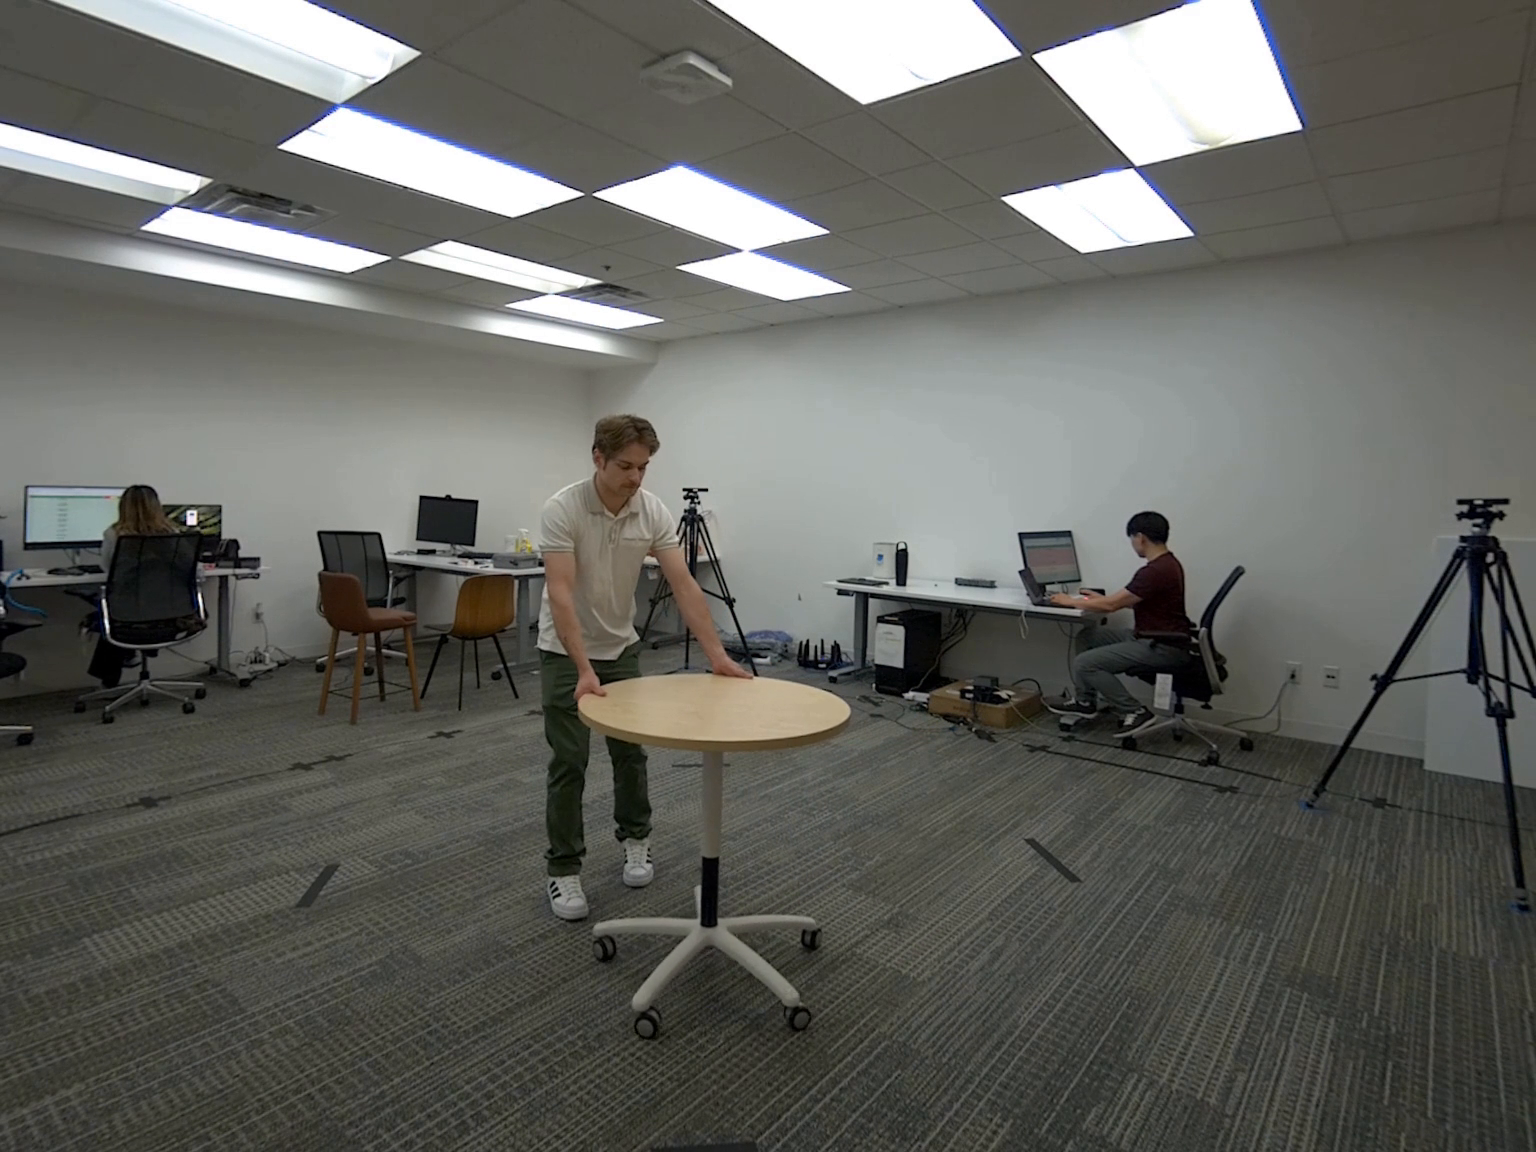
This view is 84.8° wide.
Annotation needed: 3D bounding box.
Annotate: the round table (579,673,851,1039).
[{"bbox_3d":[-0.179,0.743,2.443,0.784,0.784,0.789,1,4,-2],"label":"round table"}]
